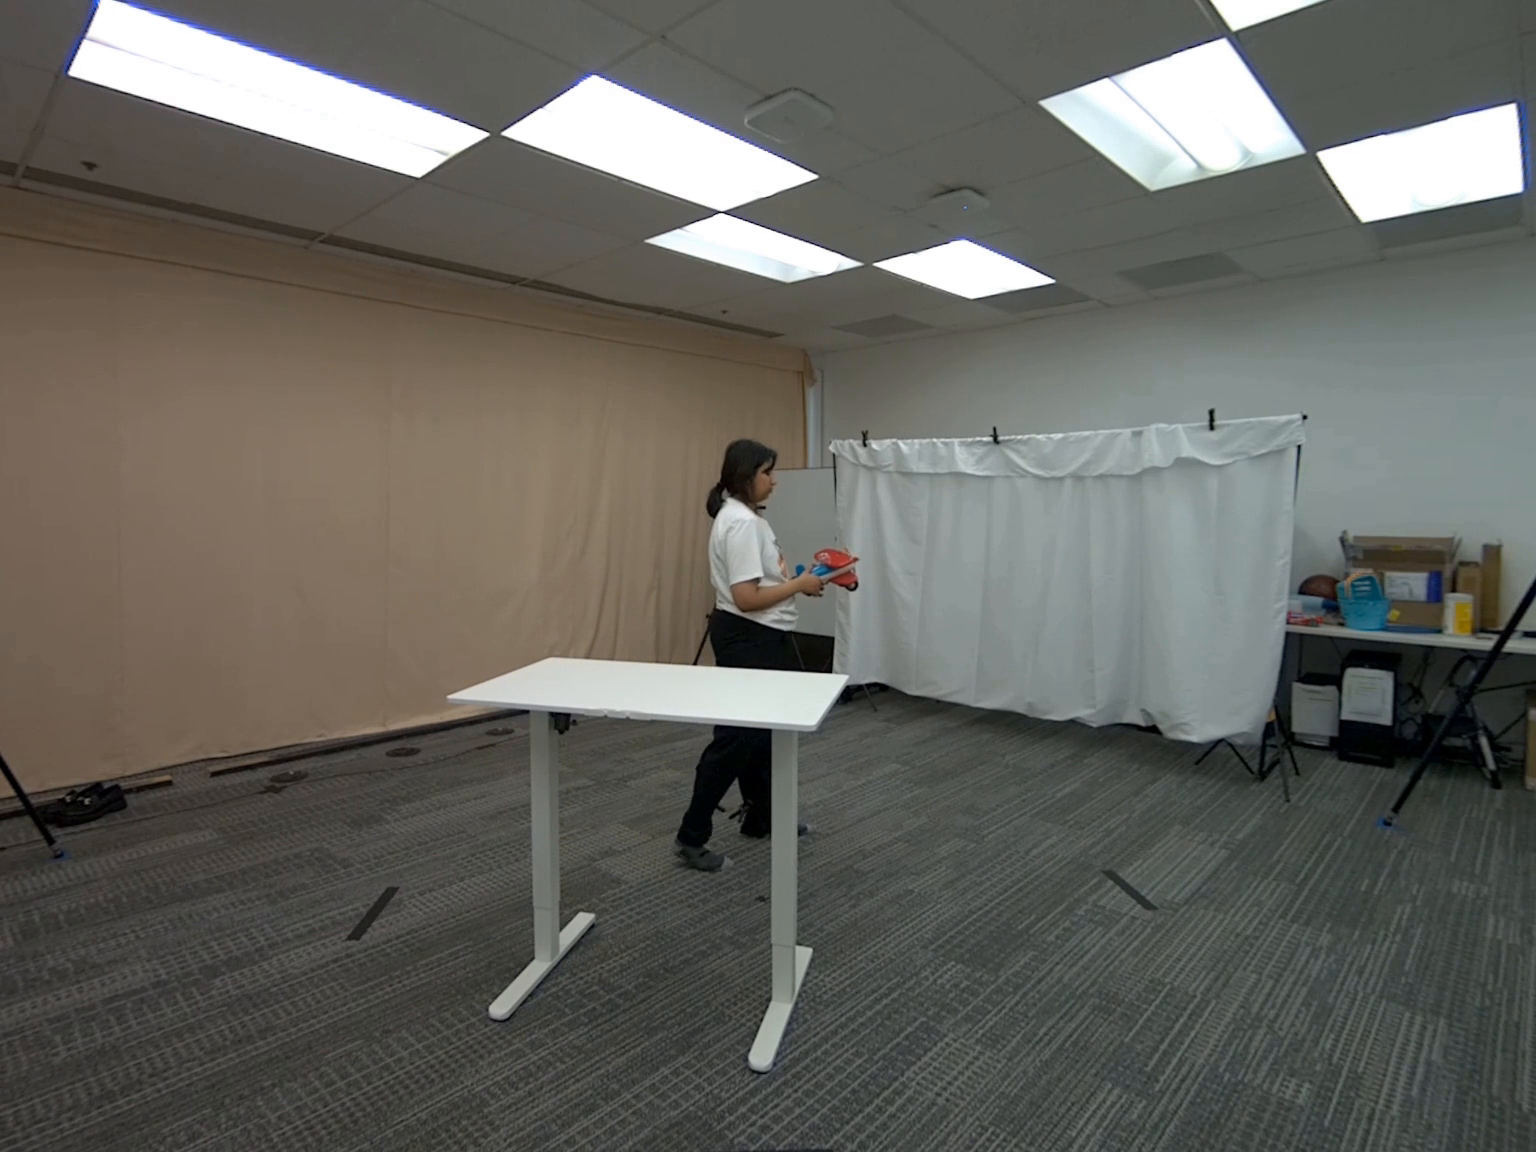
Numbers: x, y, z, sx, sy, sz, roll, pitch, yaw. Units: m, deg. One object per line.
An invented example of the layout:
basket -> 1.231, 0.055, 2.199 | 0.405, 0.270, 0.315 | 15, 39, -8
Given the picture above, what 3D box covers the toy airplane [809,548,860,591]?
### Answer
toy airplane -> 0.244, -0.002, 3.369 | 0.260, 0.155, 0.253 | 9, 19, 42
